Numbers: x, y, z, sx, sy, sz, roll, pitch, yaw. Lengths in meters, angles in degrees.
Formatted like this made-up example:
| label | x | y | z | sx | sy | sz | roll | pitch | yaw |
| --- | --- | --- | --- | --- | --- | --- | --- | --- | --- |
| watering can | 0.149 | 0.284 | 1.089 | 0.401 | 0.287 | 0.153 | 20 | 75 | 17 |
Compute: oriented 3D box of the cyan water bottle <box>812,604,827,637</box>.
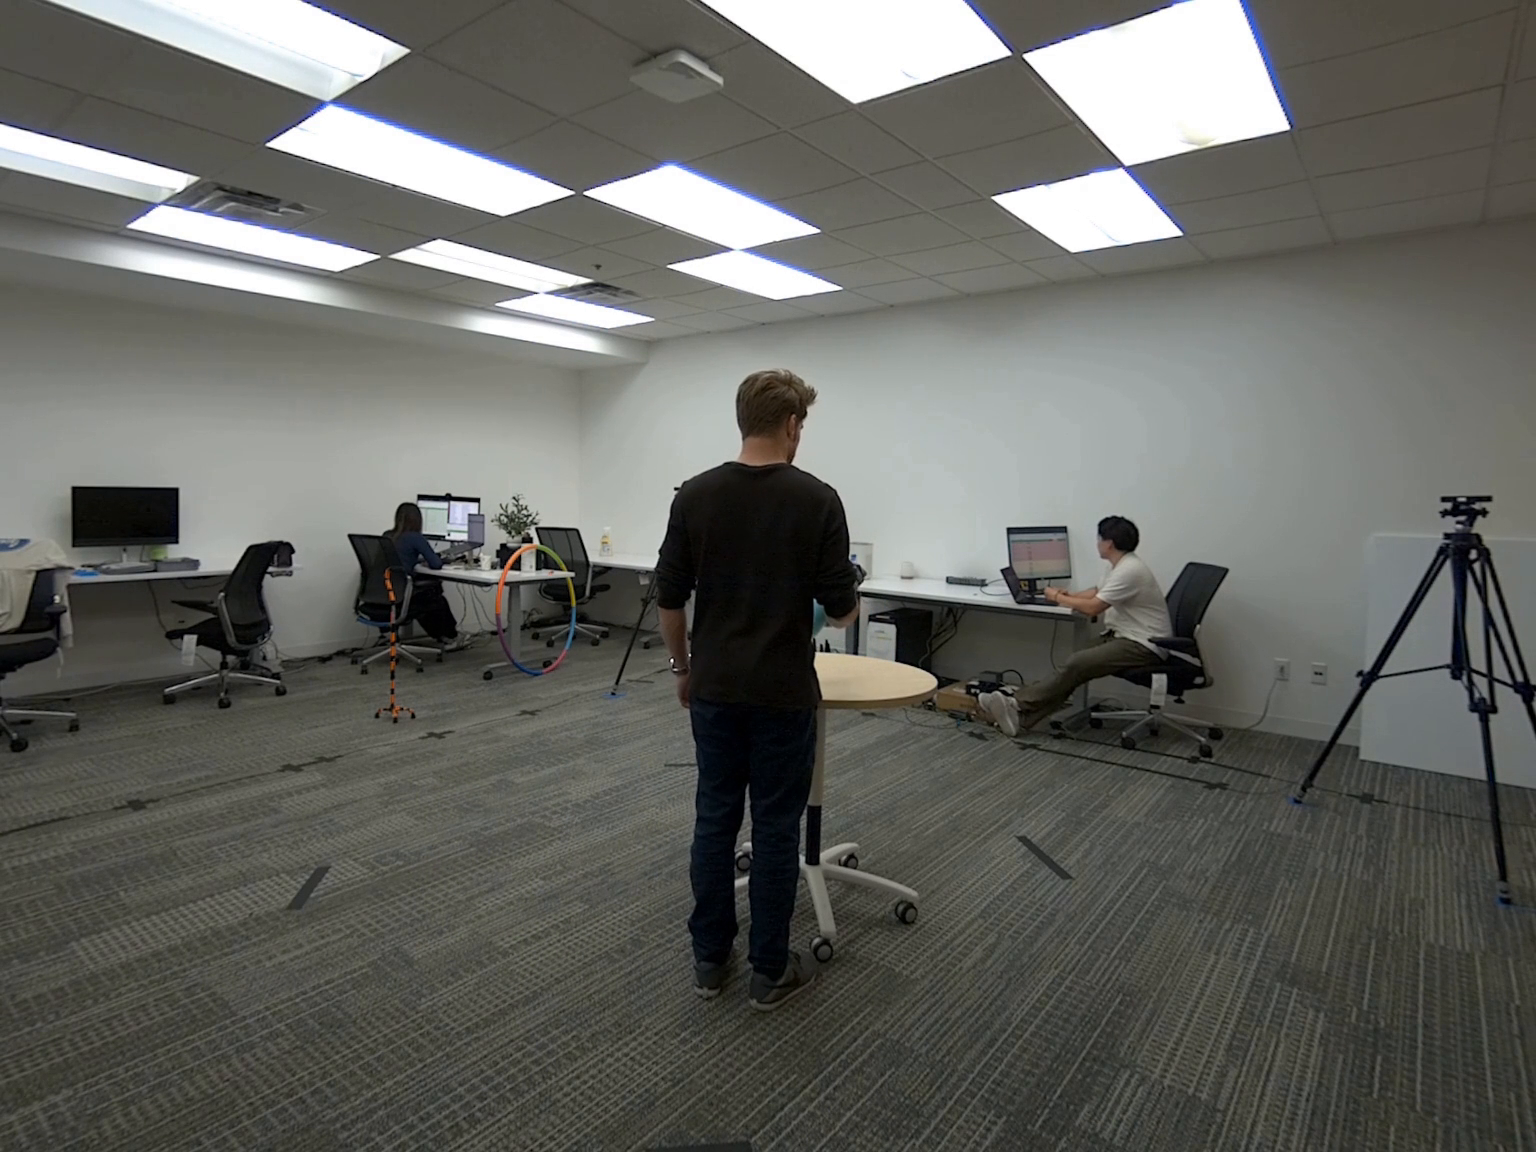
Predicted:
| label | x | y | z | sx | sy | sz | roll | pitch | yaw |
| --- | --- | --- | --- | --- | --- | --- | --- | --- | --- |
| cyan water bottle | 0.191 | 0.062 | 2.643 | 0.283 | 0.090 | 0.095 | -46 | 24 | -20 |
